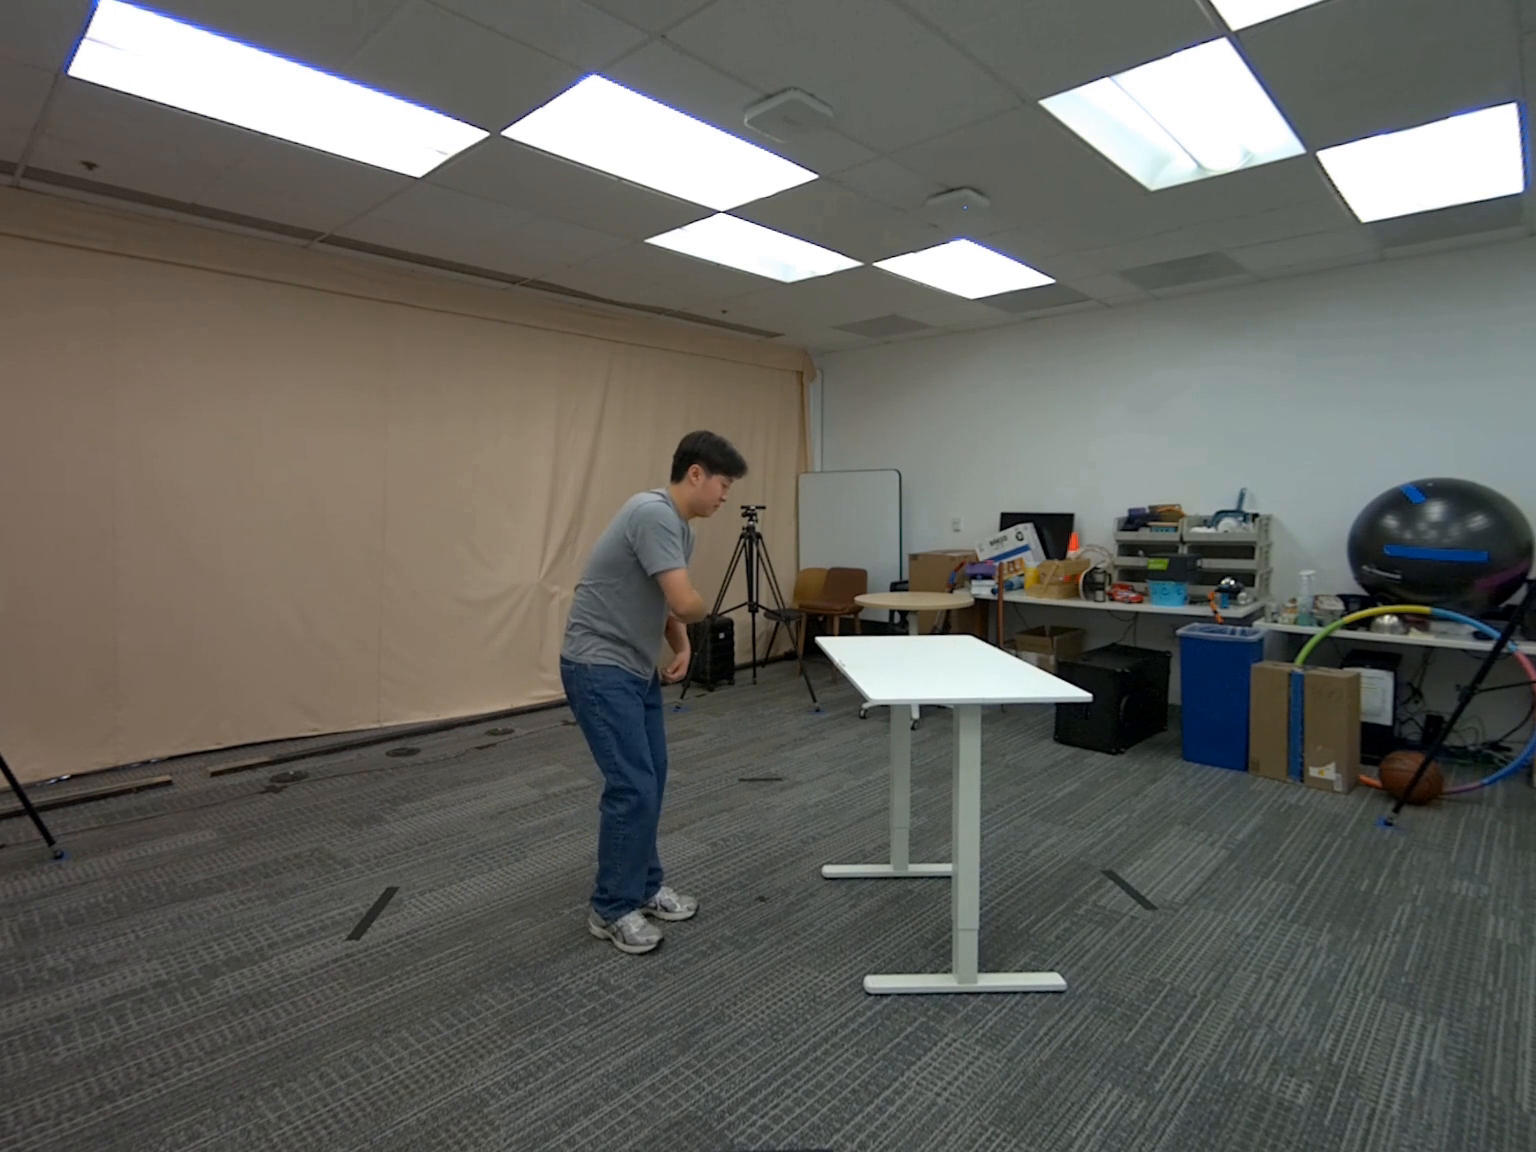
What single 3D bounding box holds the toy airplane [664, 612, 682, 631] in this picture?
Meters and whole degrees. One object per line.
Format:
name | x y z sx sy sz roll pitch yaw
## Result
toy airplane | -0.391 0.081 2.919 0.269 0.250 0.152 24 18 38
